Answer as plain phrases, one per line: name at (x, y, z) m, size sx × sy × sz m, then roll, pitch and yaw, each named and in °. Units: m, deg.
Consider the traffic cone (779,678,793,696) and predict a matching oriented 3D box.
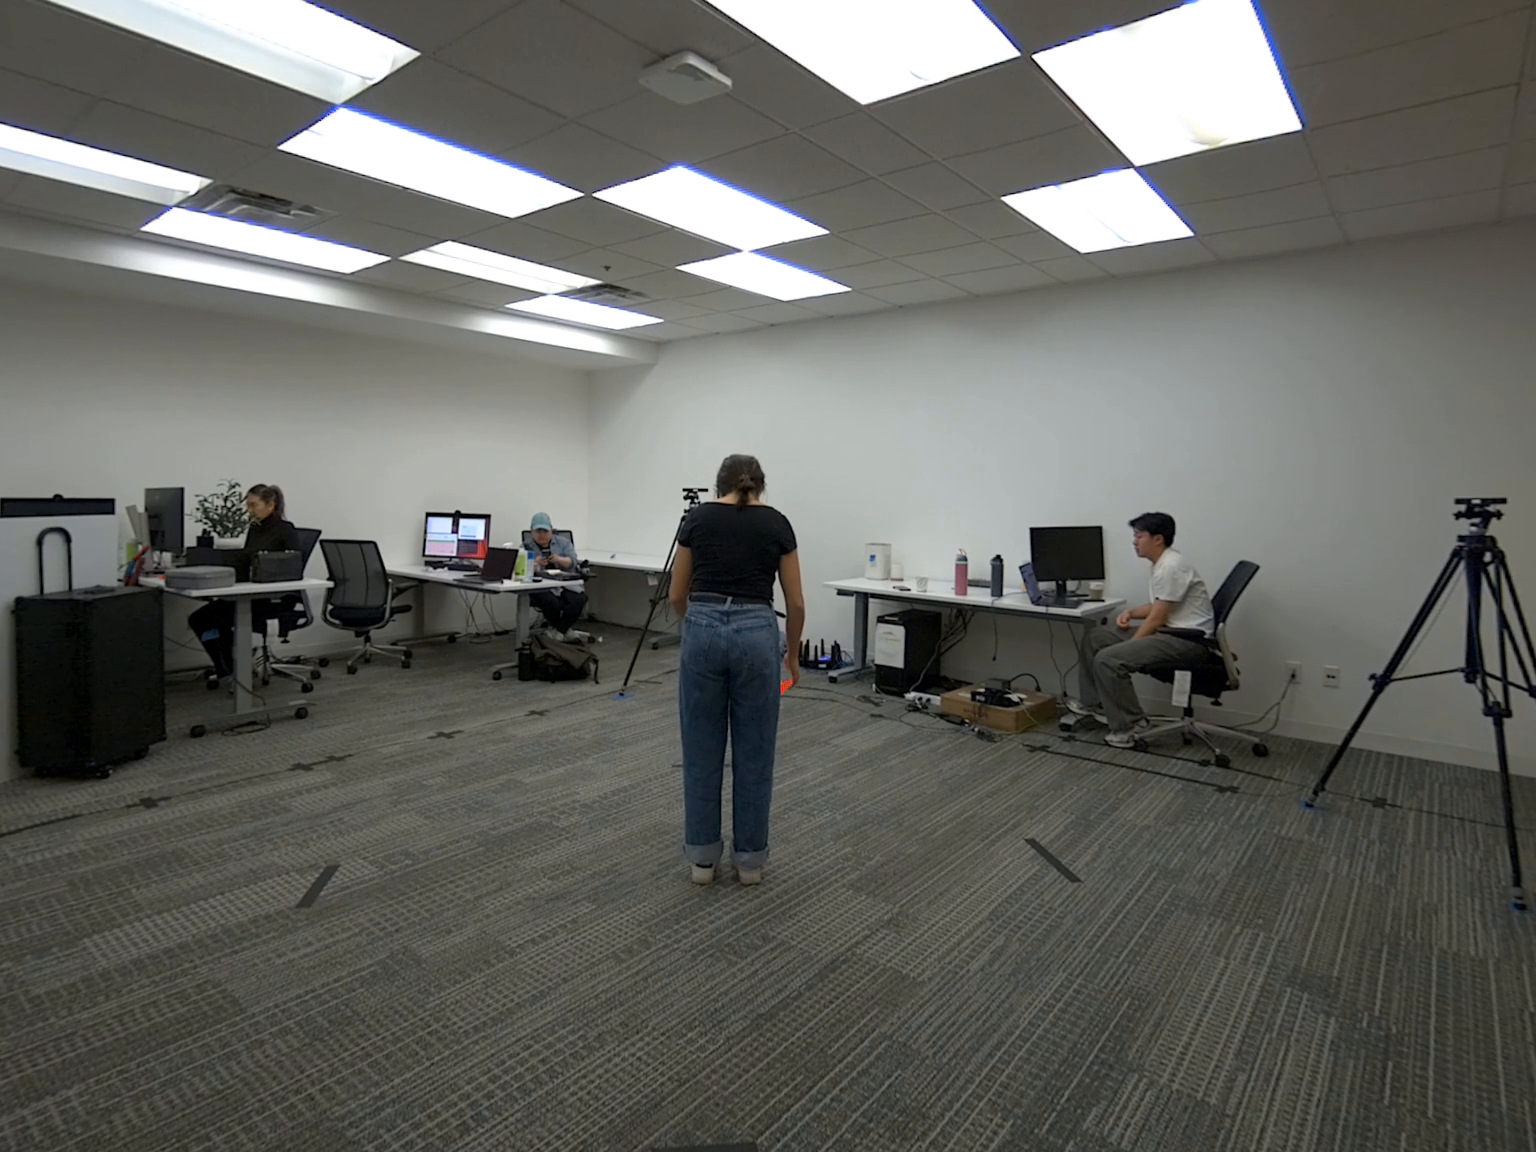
traffic cone at (-0.118, 0.352, 3.317) m, size 0.394 × 0.202 × 0.201 m, roll 45°, pitch 32°, yaw 19°
